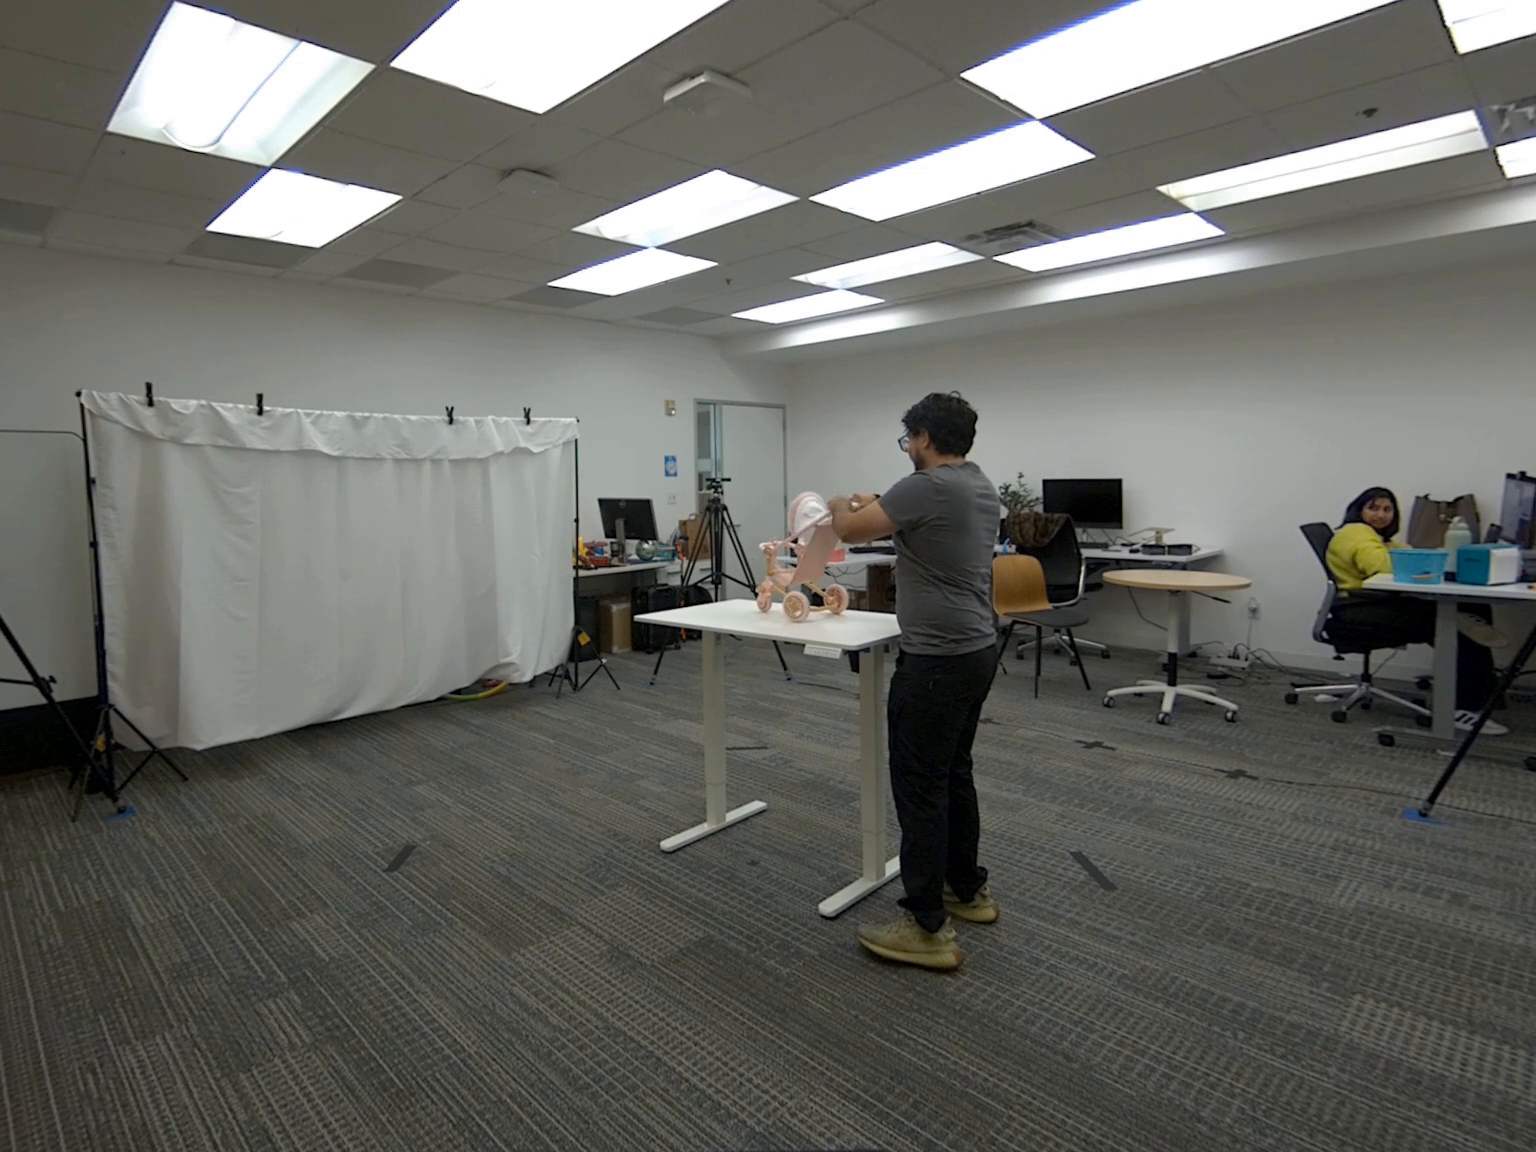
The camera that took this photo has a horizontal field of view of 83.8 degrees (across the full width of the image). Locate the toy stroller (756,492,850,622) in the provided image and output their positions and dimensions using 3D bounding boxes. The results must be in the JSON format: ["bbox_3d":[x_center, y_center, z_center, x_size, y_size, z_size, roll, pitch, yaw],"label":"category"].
[{"bbox_3d":[0.136,-0.072,3.144,0.274,0.529,0.354,-5,21,-45],"label":"toy stroller"}]
